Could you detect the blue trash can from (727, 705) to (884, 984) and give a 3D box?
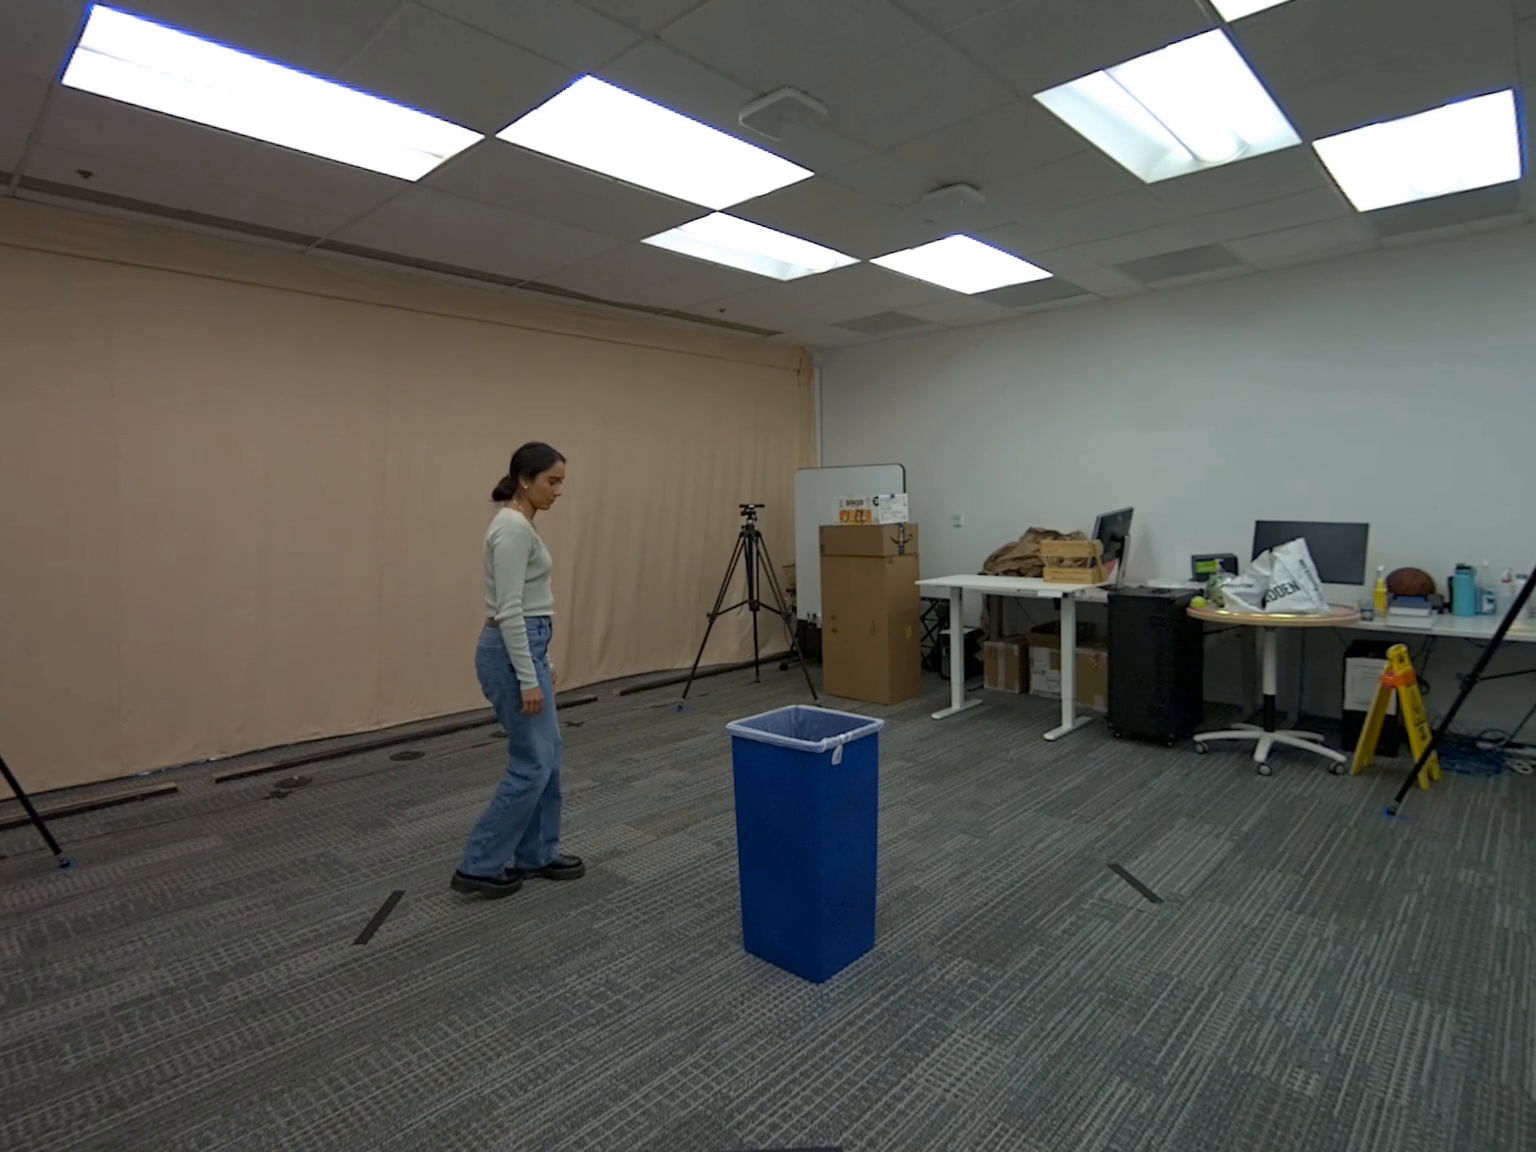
[{"bbox_3d":[0.121,0.811,2.624,0.386,0.712,0.366,2,4,42],"label":"blue trash can"}]
